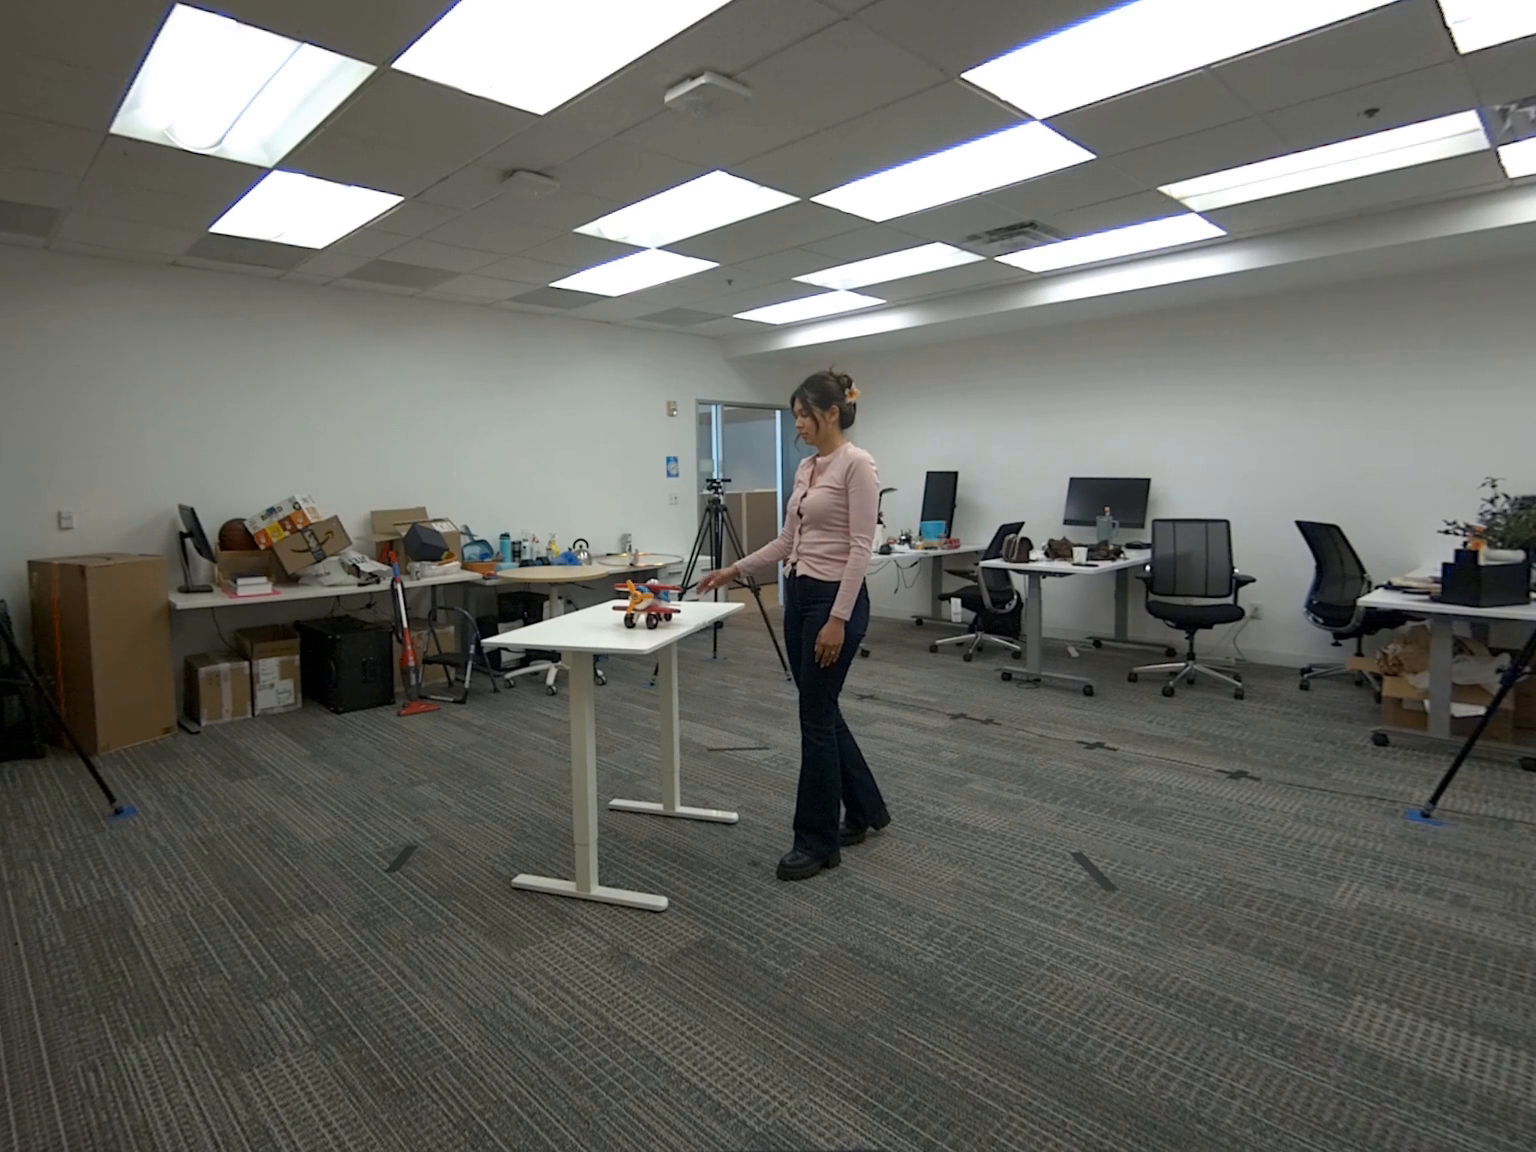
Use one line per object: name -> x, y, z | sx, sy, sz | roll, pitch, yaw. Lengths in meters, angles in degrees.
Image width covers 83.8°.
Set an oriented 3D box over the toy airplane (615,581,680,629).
toy airplane -> -0.433, 0.096, 3.068 | 0.249, 0.155, 0.262 | -2, 6, -8
